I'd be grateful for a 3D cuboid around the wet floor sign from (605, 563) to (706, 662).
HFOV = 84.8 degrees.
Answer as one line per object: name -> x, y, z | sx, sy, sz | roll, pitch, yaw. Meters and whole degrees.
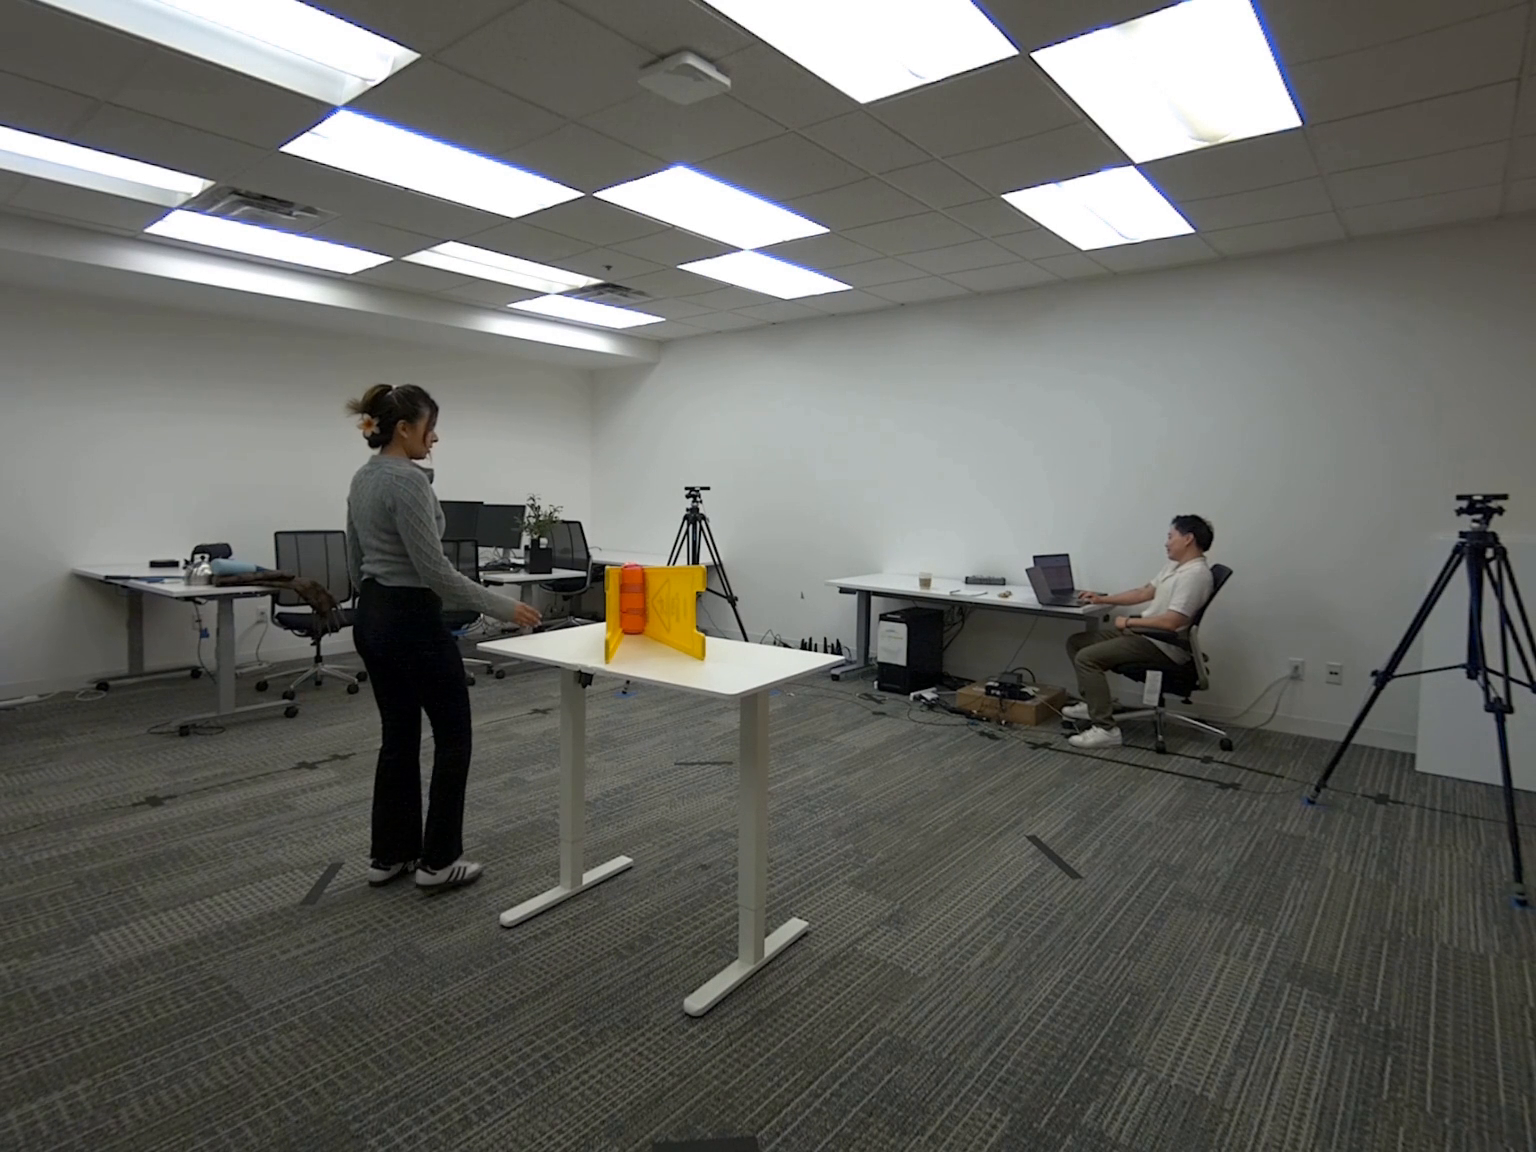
wet floor sign -> -0.428, 0.091, 2.778 | 0.285, 0.282, 0.657 | 0, 3, -16
